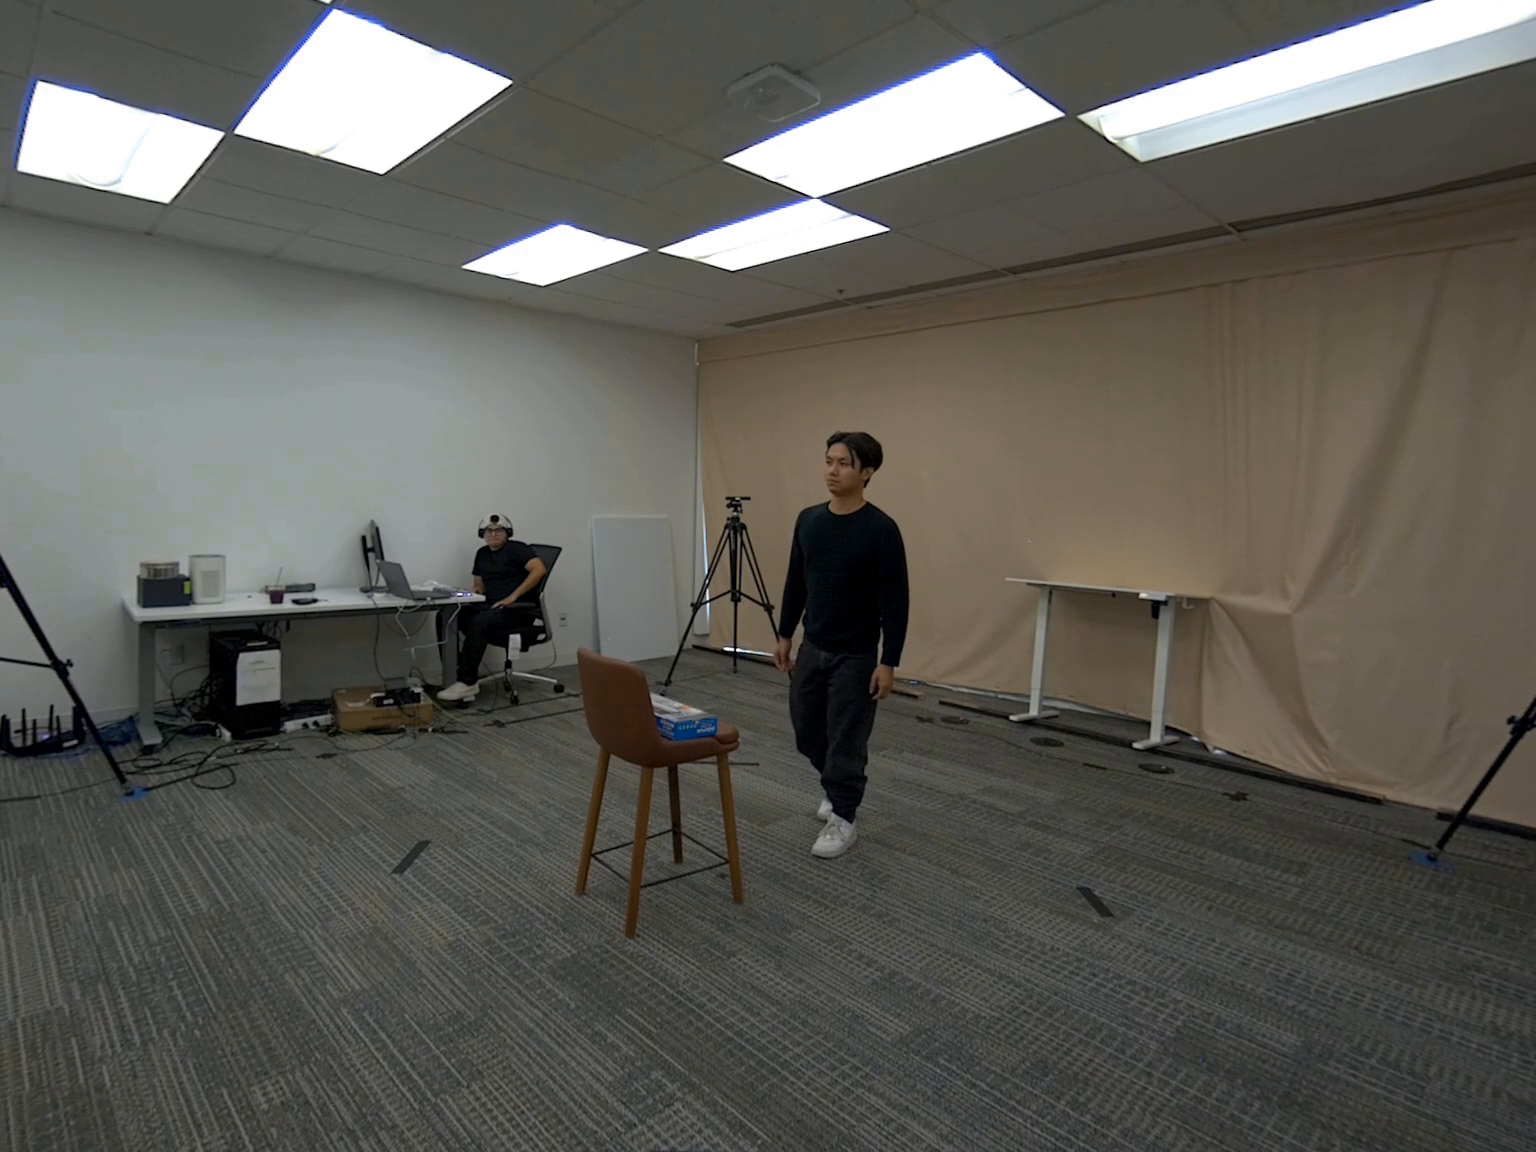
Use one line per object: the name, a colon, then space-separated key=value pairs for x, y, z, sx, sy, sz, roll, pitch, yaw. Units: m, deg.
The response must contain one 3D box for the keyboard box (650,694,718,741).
keyboard box: x=-0.378 y=0.473 z=2.895 sx=0.172 sy=0.059 sz=0.448 roll=0 pitch=5 yaw=-40
